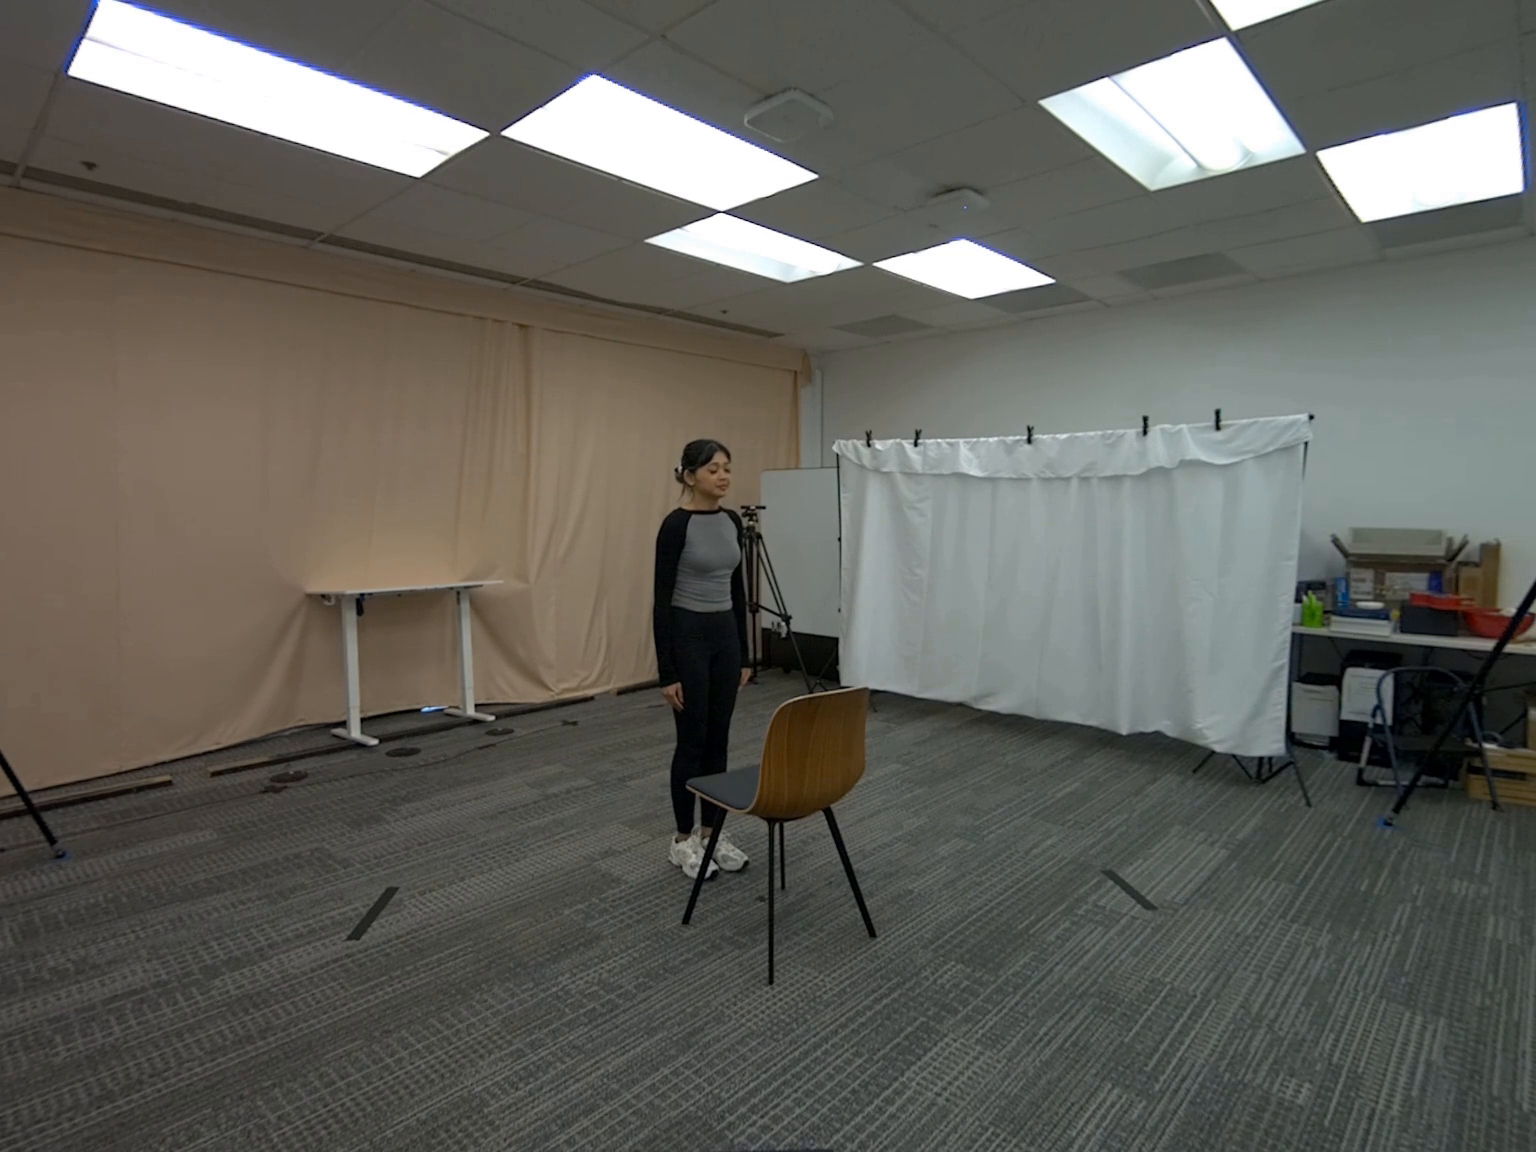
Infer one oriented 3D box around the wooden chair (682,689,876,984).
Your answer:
[{"bbox_3d":[0.029,0.739,2.733,0.464,0.874,0.541,-3,8,-39],"label":"wooden chair"}]
